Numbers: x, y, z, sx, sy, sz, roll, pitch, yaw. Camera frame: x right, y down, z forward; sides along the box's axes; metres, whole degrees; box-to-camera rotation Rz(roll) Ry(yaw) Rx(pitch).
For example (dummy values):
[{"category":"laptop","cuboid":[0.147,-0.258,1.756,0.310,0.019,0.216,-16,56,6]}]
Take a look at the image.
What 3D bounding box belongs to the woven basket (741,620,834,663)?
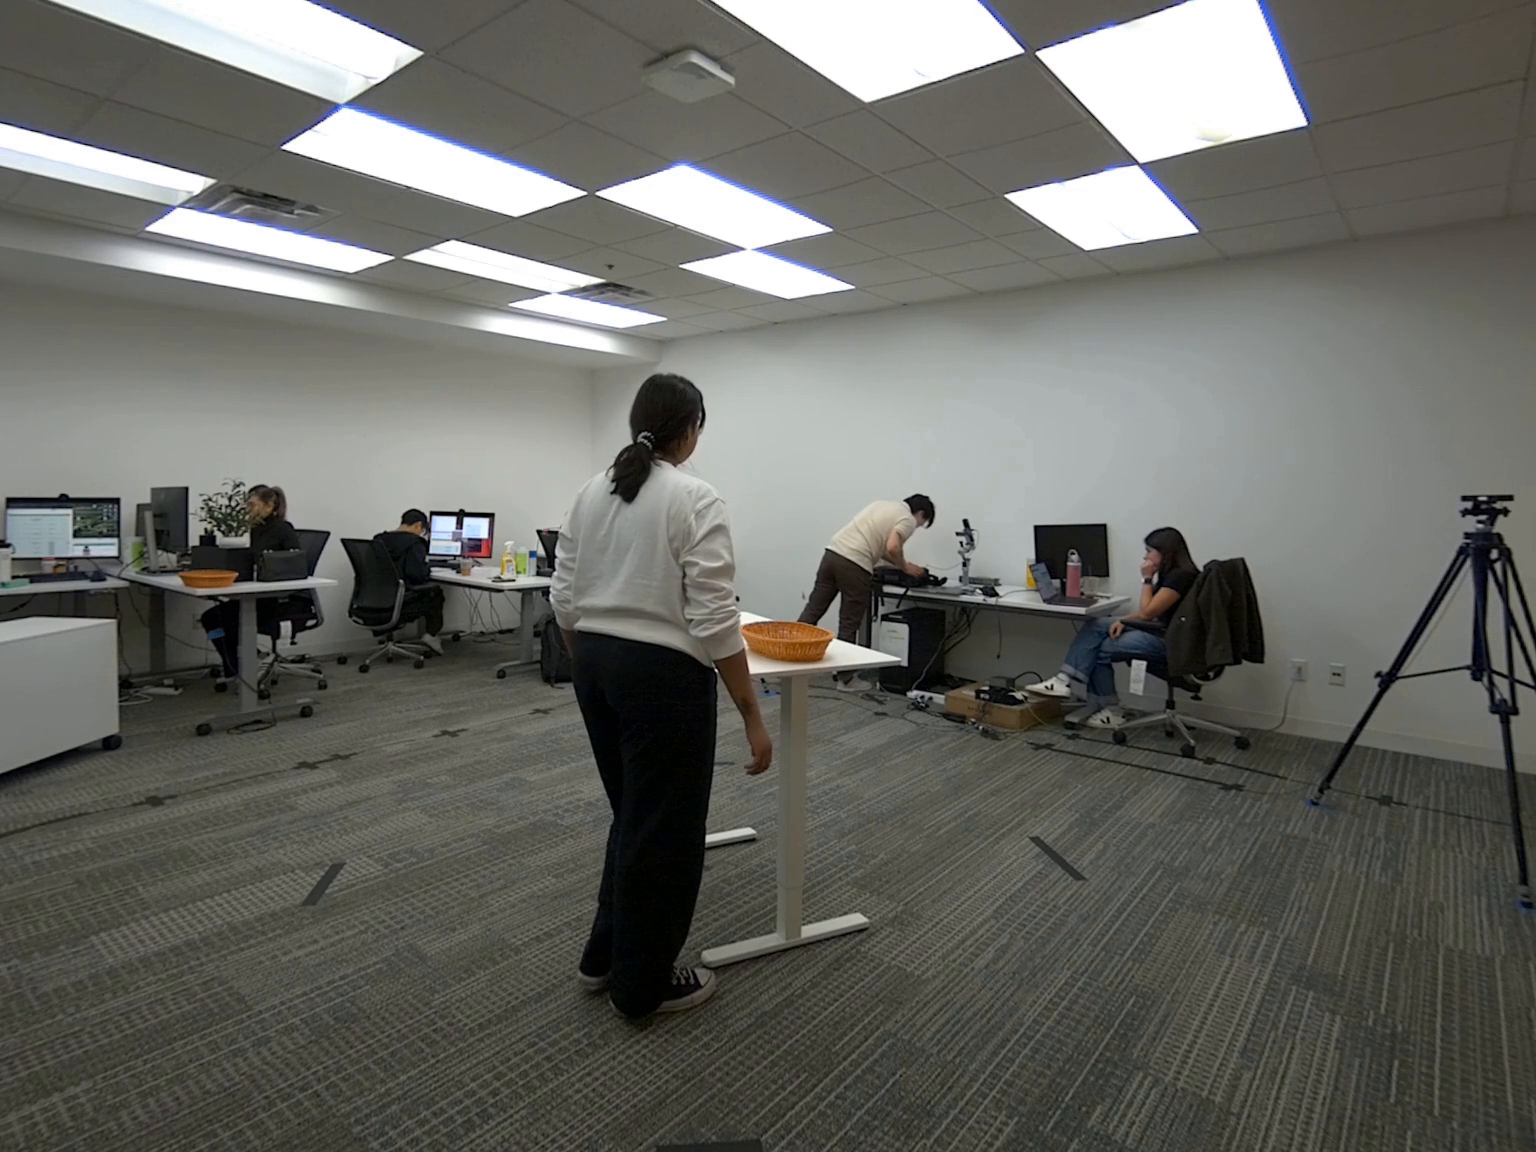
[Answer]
[{"category":"woven basket","cuboid":[0.033,0.211,2.633,0.246,0.073,0.361,-4,8,-28]}]
